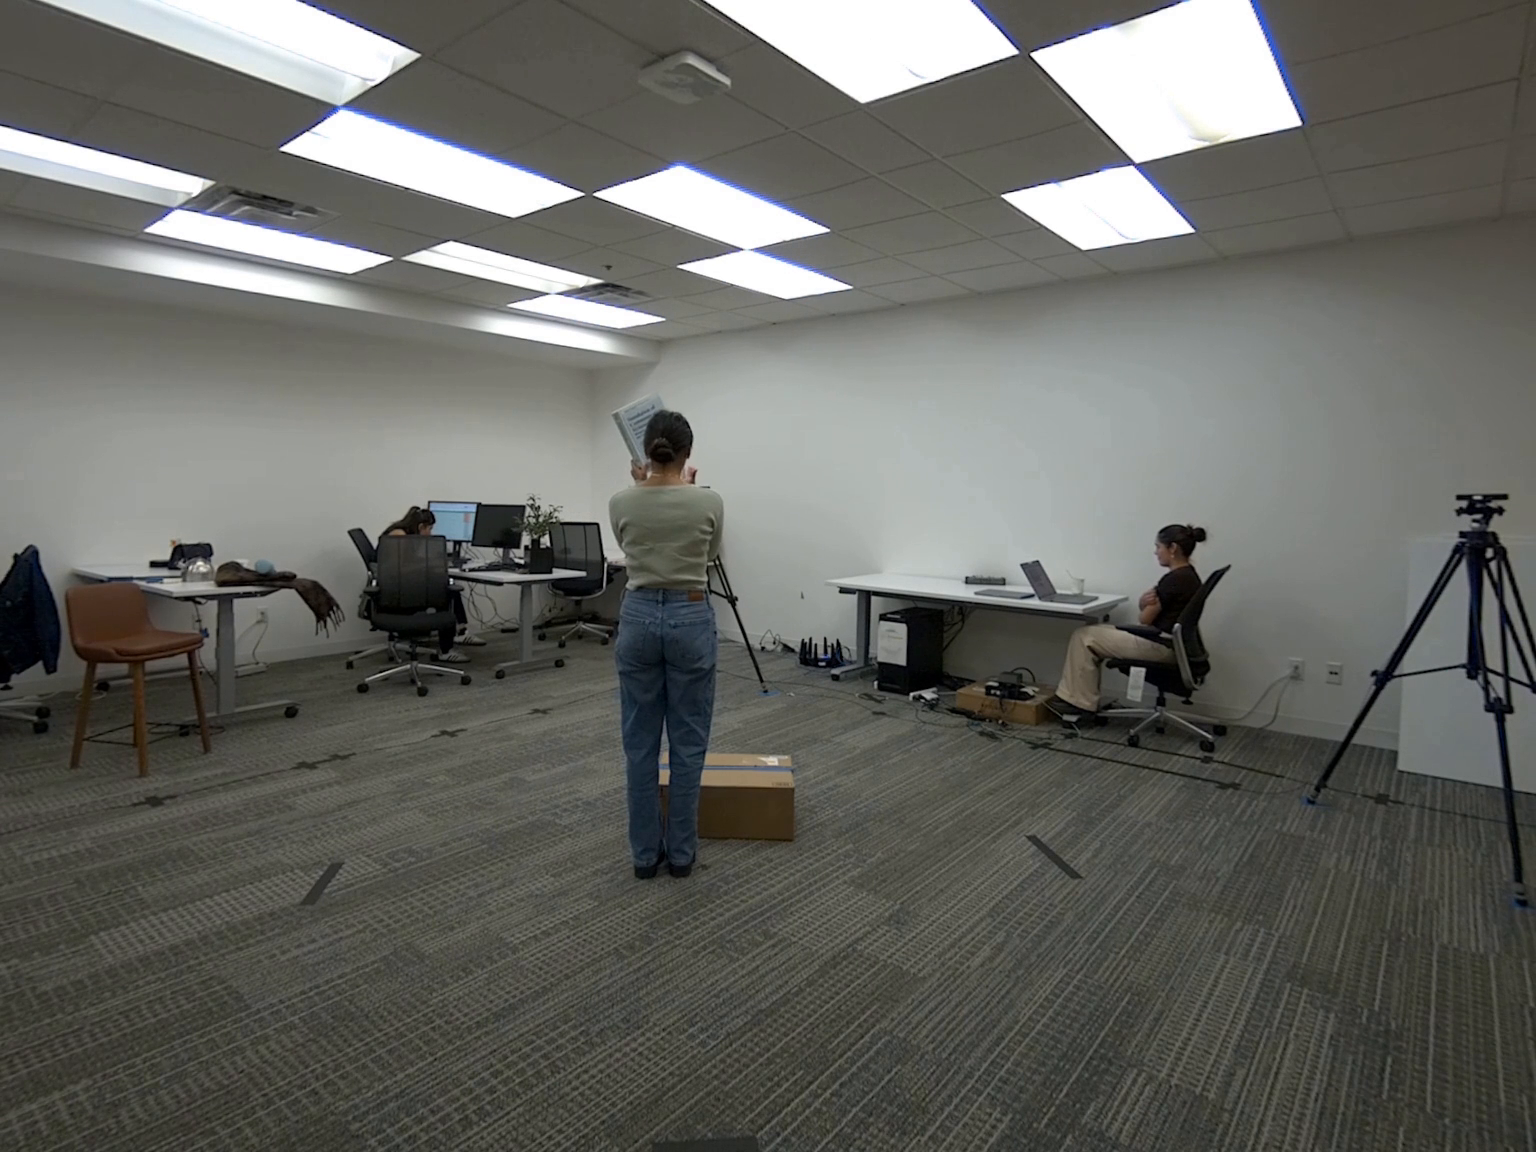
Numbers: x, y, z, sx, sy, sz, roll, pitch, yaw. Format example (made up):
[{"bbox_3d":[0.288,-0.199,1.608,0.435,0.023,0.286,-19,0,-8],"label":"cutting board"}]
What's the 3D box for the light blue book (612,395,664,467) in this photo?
[{"bbox_3d":[-0.475,-0.555,3.293,0.189,0.257,0.060,-31,12,-26],"label":"light blue book"}]
